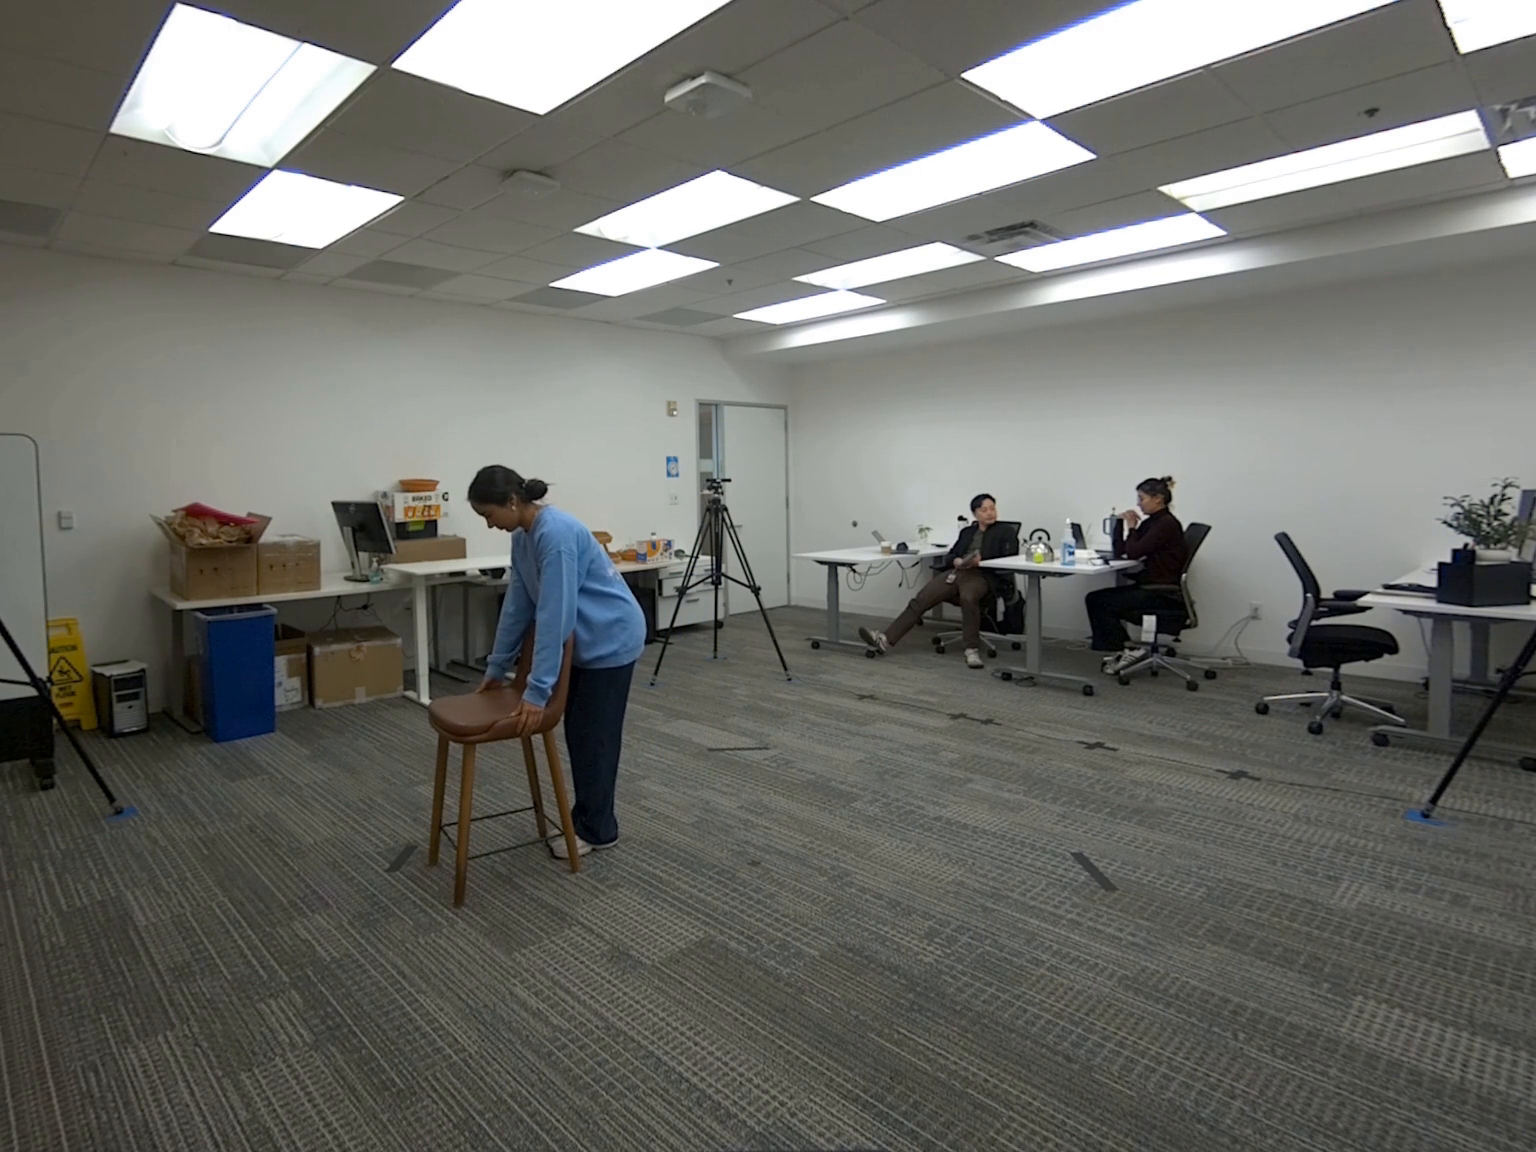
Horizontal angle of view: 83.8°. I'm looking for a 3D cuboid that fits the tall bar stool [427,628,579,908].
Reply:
[{"bbox_3d":[-0.968,0.629,3.082,0.456,0.887,0.469,-2,4,-33],"label":"tall bar stool"}]
